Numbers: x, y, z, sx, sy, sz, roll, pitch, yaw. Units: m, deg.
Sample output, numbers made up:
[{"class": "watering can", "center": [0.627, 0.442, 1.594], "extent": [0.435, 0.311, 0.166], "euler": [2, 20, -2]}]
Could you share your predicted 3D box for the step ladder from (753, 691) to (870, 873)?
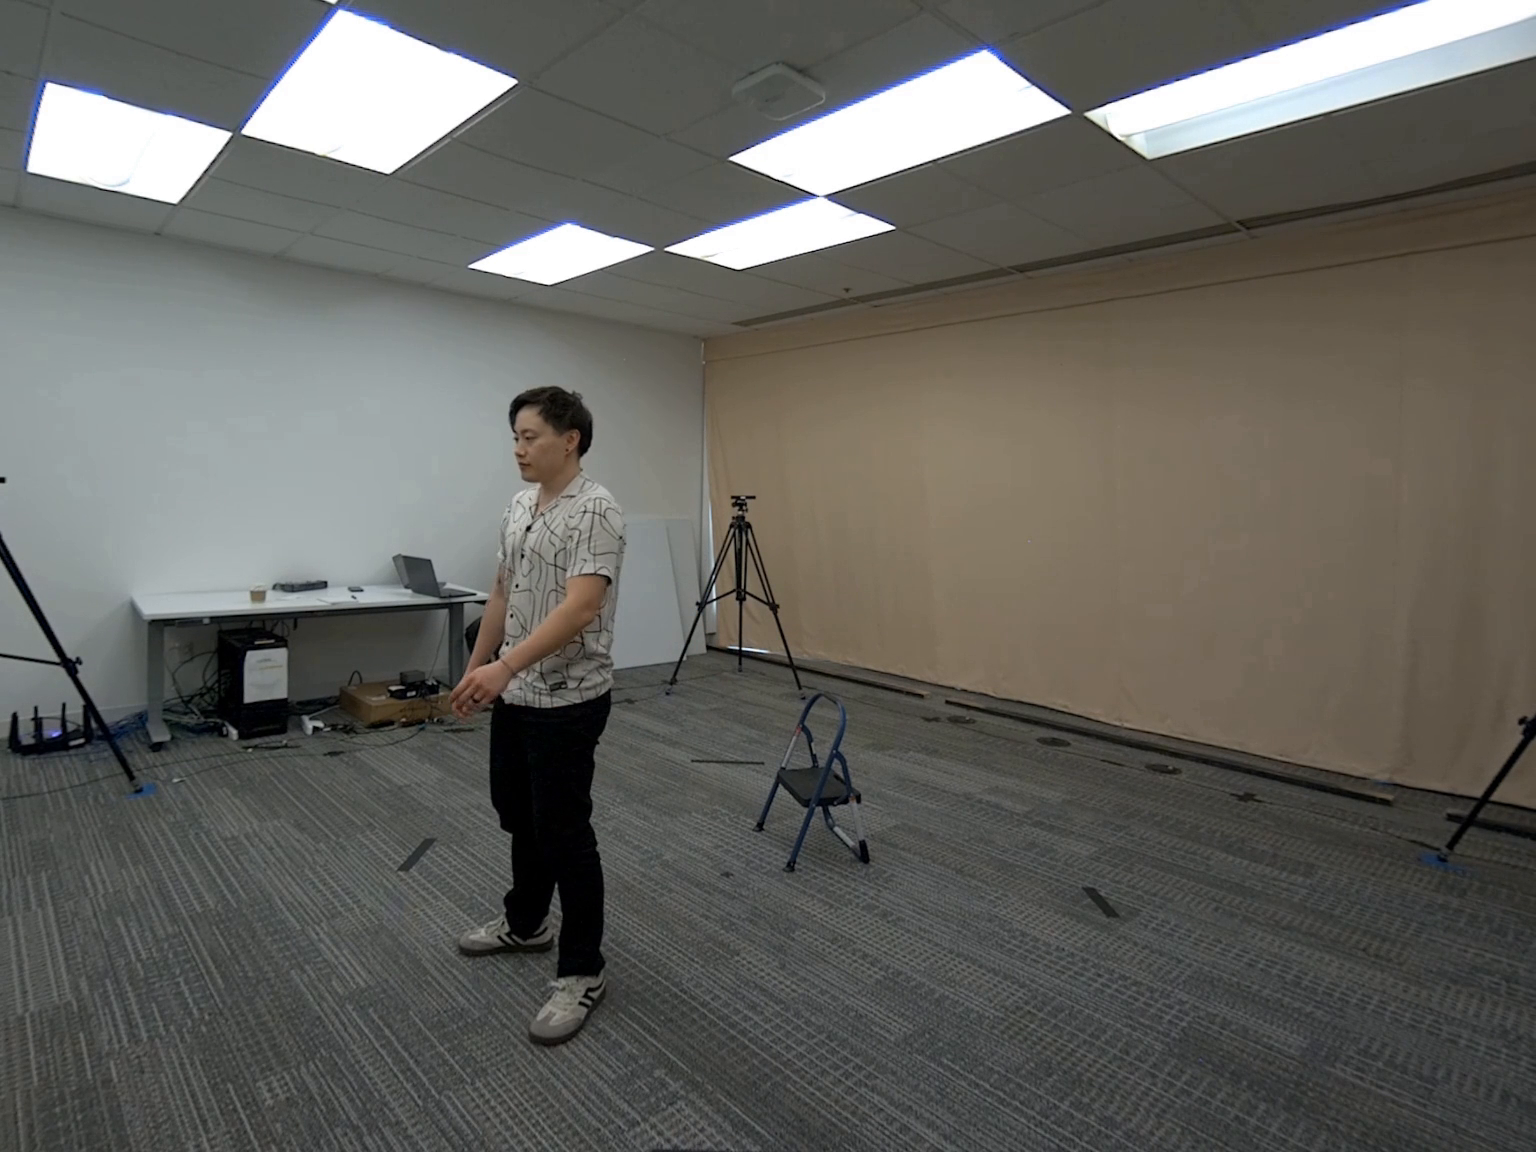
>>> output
[{"class": "step ladder", "center": [0.170, 0.783, 3.366], "extent": [0.345, 0.605, 0.437], "euler": [1, 4, -17]}]
